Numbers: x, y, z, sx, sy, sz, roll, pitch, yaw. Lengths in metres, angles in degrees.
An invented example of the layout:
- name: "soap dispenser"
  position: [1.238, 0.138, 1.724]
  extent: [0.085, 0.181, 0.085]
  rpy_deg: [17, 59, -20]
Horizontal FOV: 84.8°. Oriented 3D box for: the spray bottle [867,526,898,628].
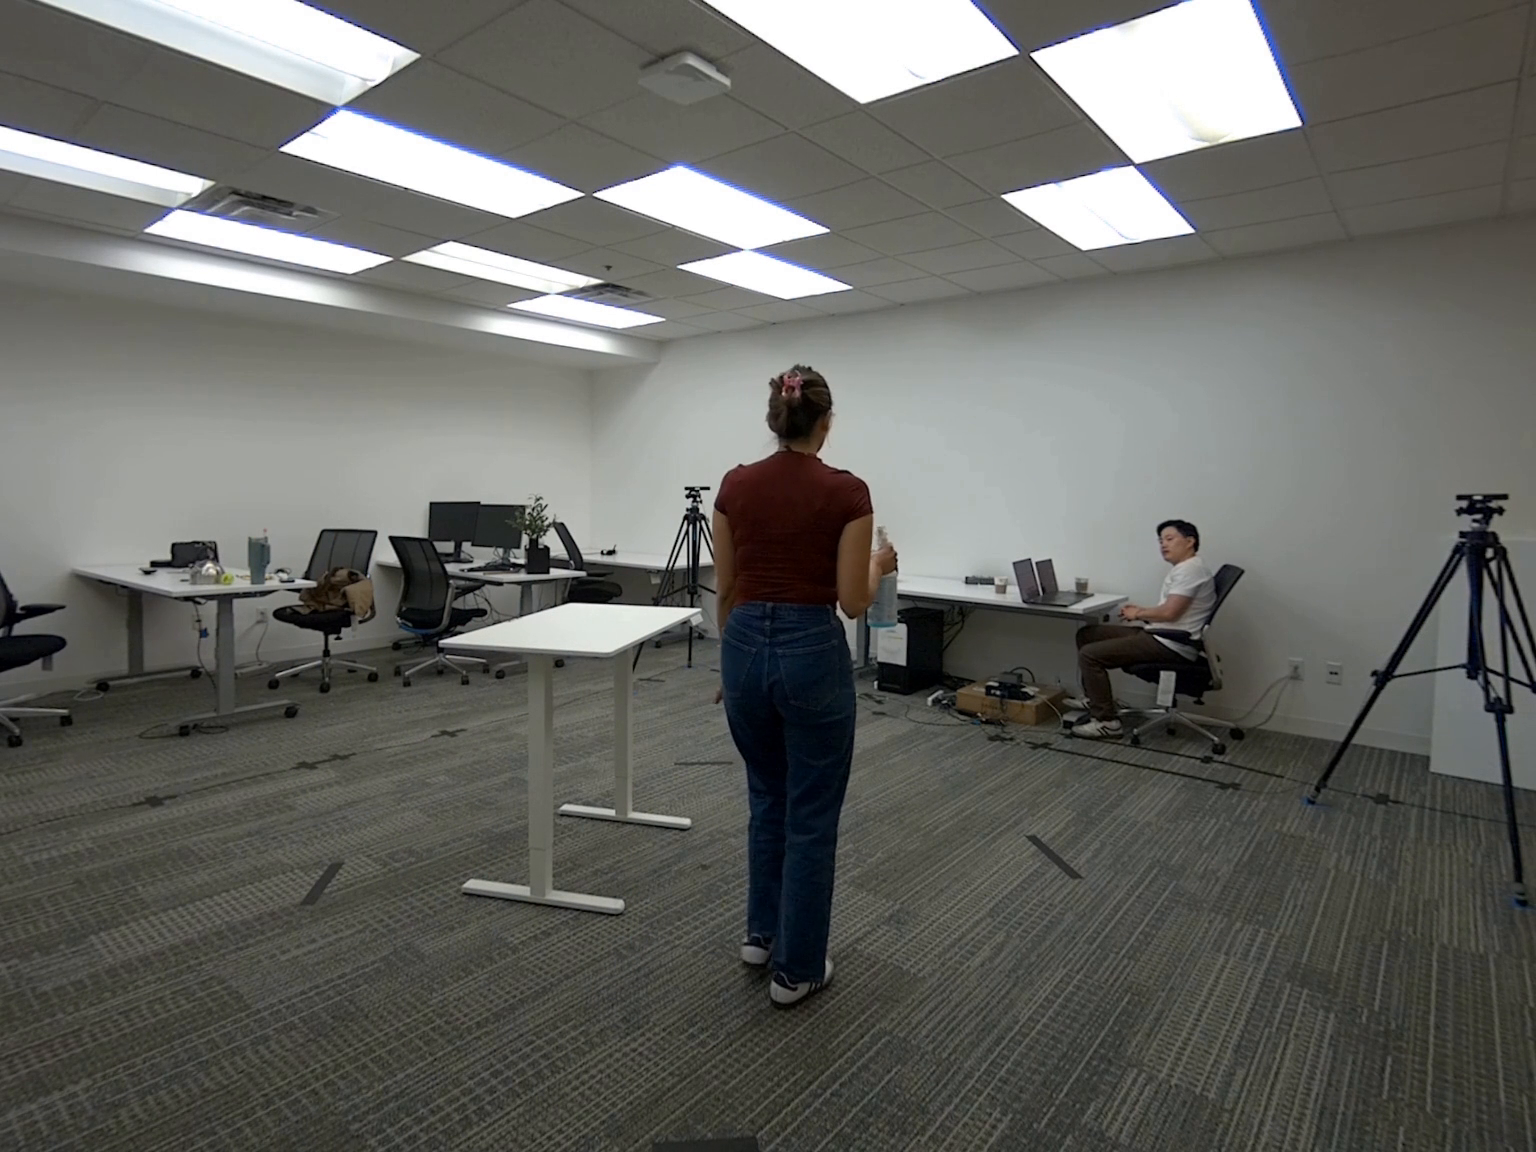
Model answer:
- name: "spray bottle"
  position: [0.325, -0.003, 2.473]
  extent: [0.087, 0.296, 0.090]
  rpy_deg: [-6, 4, -44]
